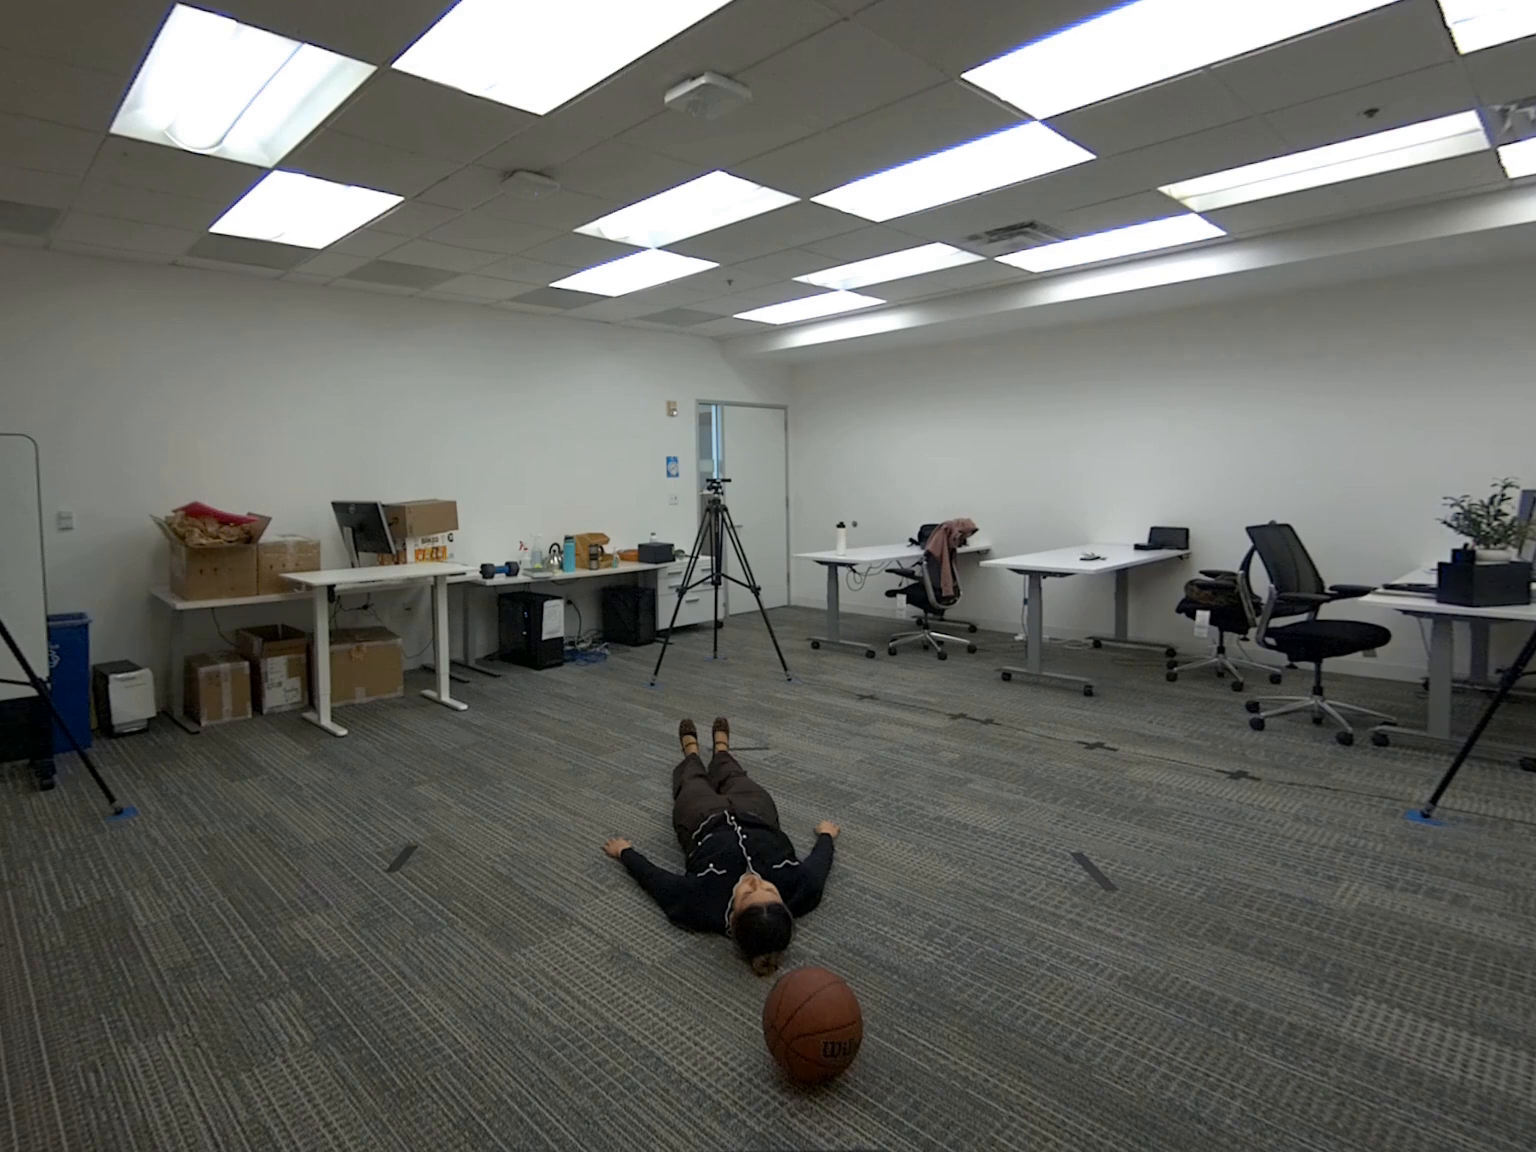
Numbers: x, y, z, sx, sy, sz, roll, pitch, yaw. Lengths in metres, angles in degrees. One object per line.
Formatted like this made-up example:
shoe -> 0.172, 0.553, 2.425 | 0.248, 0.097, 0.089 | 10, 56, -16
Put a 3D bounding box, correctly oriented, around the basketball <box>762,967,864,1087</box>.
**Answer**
basketball -> 0.115, 1.052, 2.014 | 0.236, 0.235, 0.237 | -1, 5, -2
